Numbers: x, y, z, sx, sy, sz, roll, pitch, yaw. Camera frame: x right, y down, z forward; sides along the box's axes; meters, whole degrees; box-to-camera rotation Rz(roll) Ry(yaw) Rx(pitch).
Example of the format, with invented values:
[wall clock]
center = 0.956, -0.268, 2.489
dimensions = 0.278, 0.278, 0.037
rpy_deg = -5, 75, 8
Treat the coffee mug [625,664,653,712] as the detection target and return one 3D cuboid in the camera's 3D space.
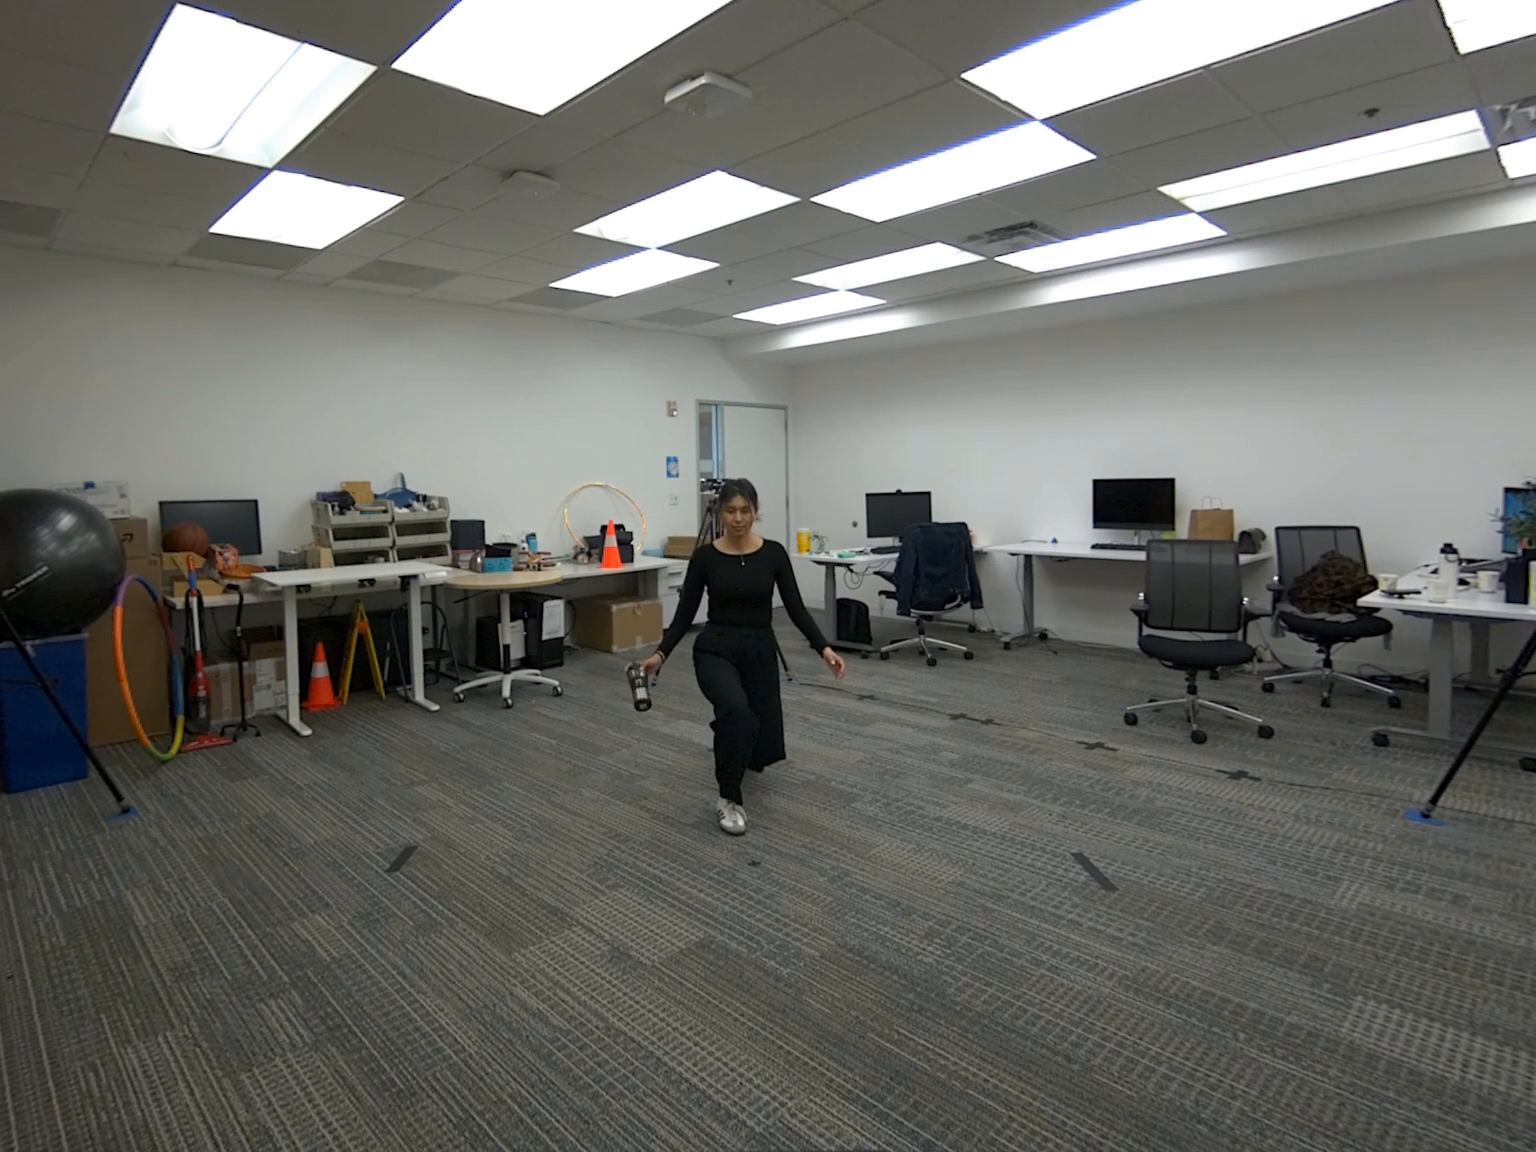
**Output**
[coffee mug]
center = -0.536, 0.441, 3.522
dimensions = 0.088, 0.118, 0.210
rpy_deg = -25, 37, 4
